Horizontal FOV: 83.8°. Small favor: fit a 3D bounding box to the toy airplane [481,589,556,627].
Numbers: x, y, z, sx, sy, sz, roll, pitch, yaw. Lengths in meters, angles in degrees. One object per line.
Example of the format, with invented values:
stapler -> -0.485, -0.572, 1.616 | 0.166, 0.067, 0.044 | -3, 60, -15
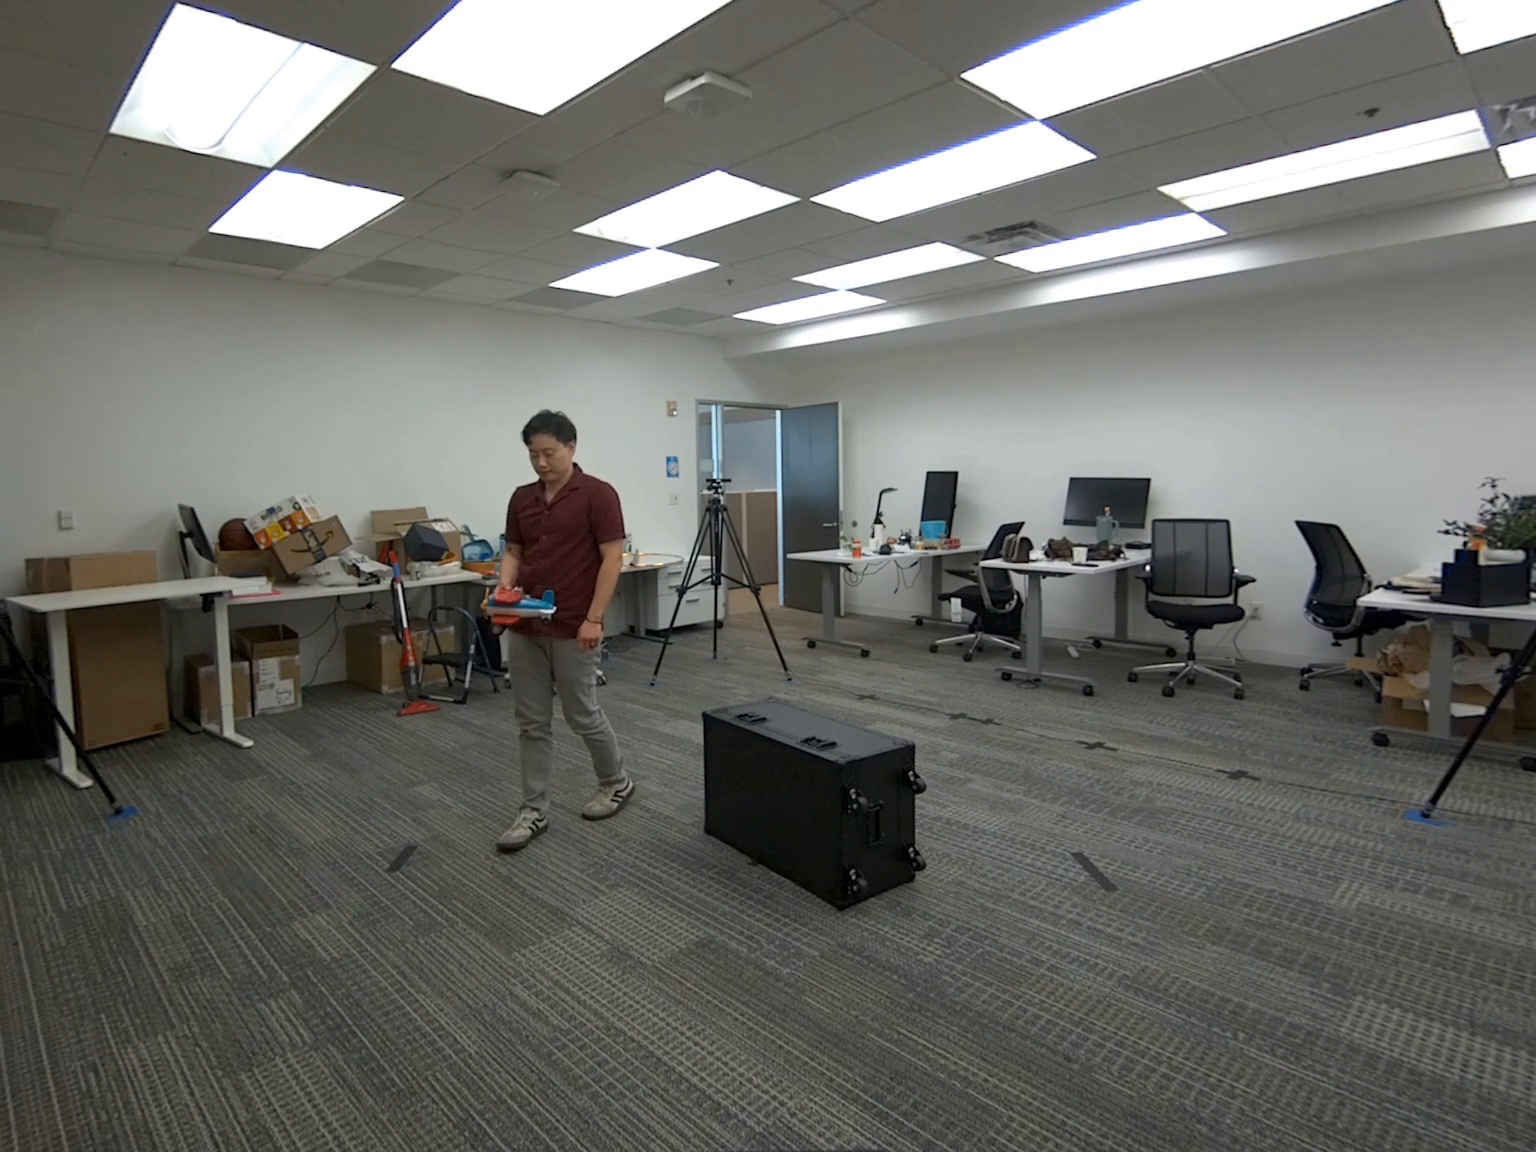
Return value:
toy airplane -> -0.915, 0.125, 3.160 | 0.255, 0.156, 0.257 | -12, 6, -26
